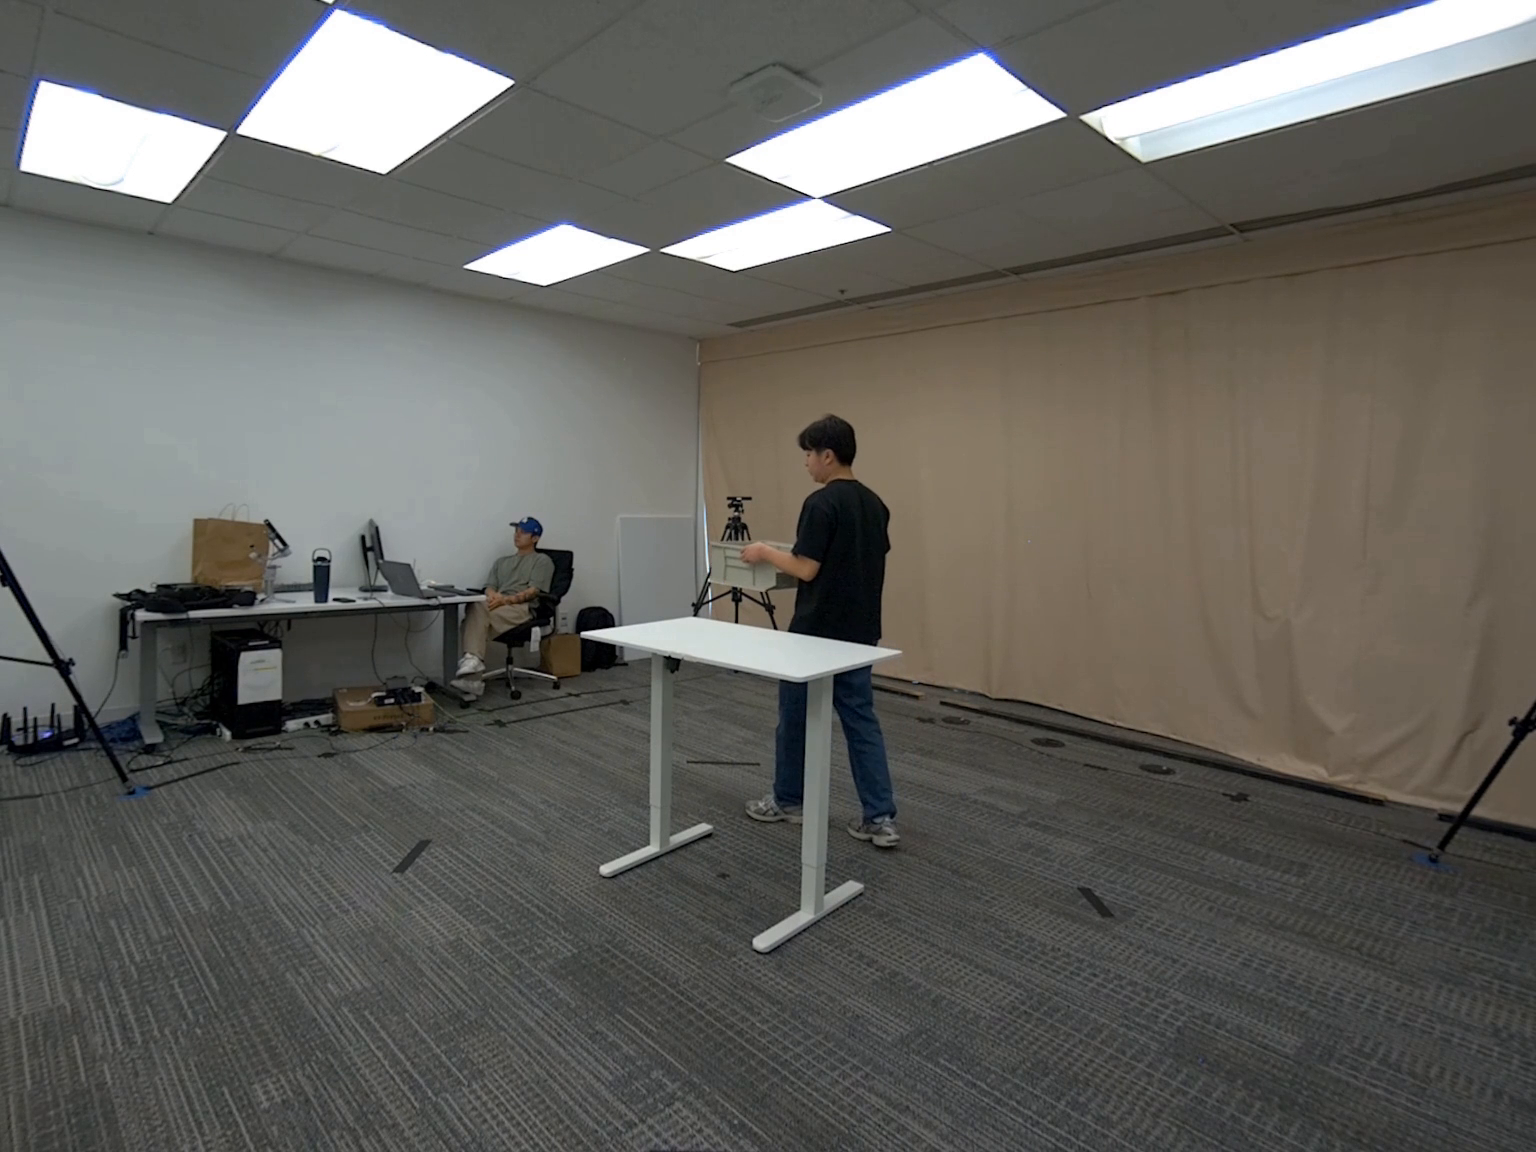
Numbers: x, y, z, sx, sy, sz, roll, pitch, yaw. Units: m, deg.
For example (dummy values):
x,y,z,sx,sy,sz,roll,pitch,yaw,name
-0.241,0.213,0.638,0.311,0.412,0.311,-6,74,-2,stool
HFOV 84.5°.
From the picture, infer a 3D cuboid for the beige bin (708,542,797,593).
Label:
x,y,z,sx,sy,sz,roll,pitch,yaw,name
-0.005,-0.045,3.788,0.387,0.188,0.413,8,7,36,beige bin
